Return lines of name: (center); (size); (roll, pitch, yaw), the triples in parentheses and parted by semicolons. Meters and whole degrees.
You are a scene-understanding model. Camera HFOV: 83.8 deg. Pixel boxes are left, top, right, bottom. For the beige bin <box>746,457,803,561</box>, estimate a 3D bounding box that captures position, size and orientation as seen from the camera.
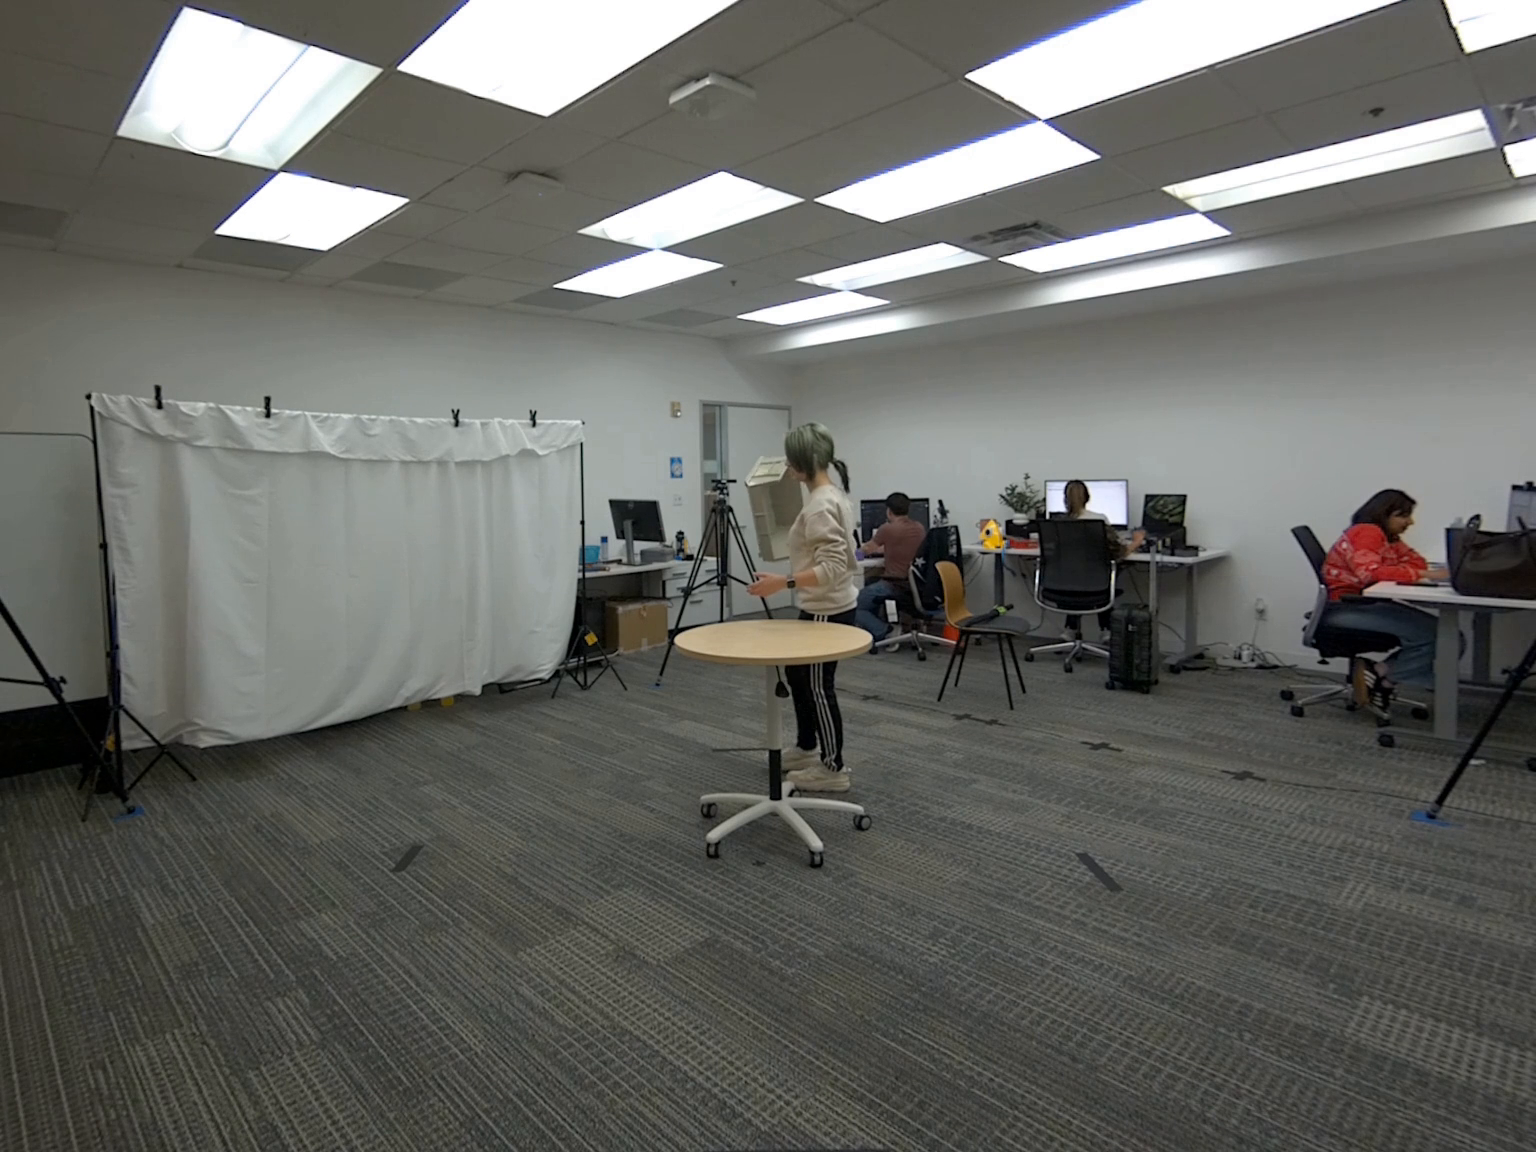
beige bin: (0.049, -0.335, 4.181); (0.192, 0.412, 0.381); (-3, 28, 15)
